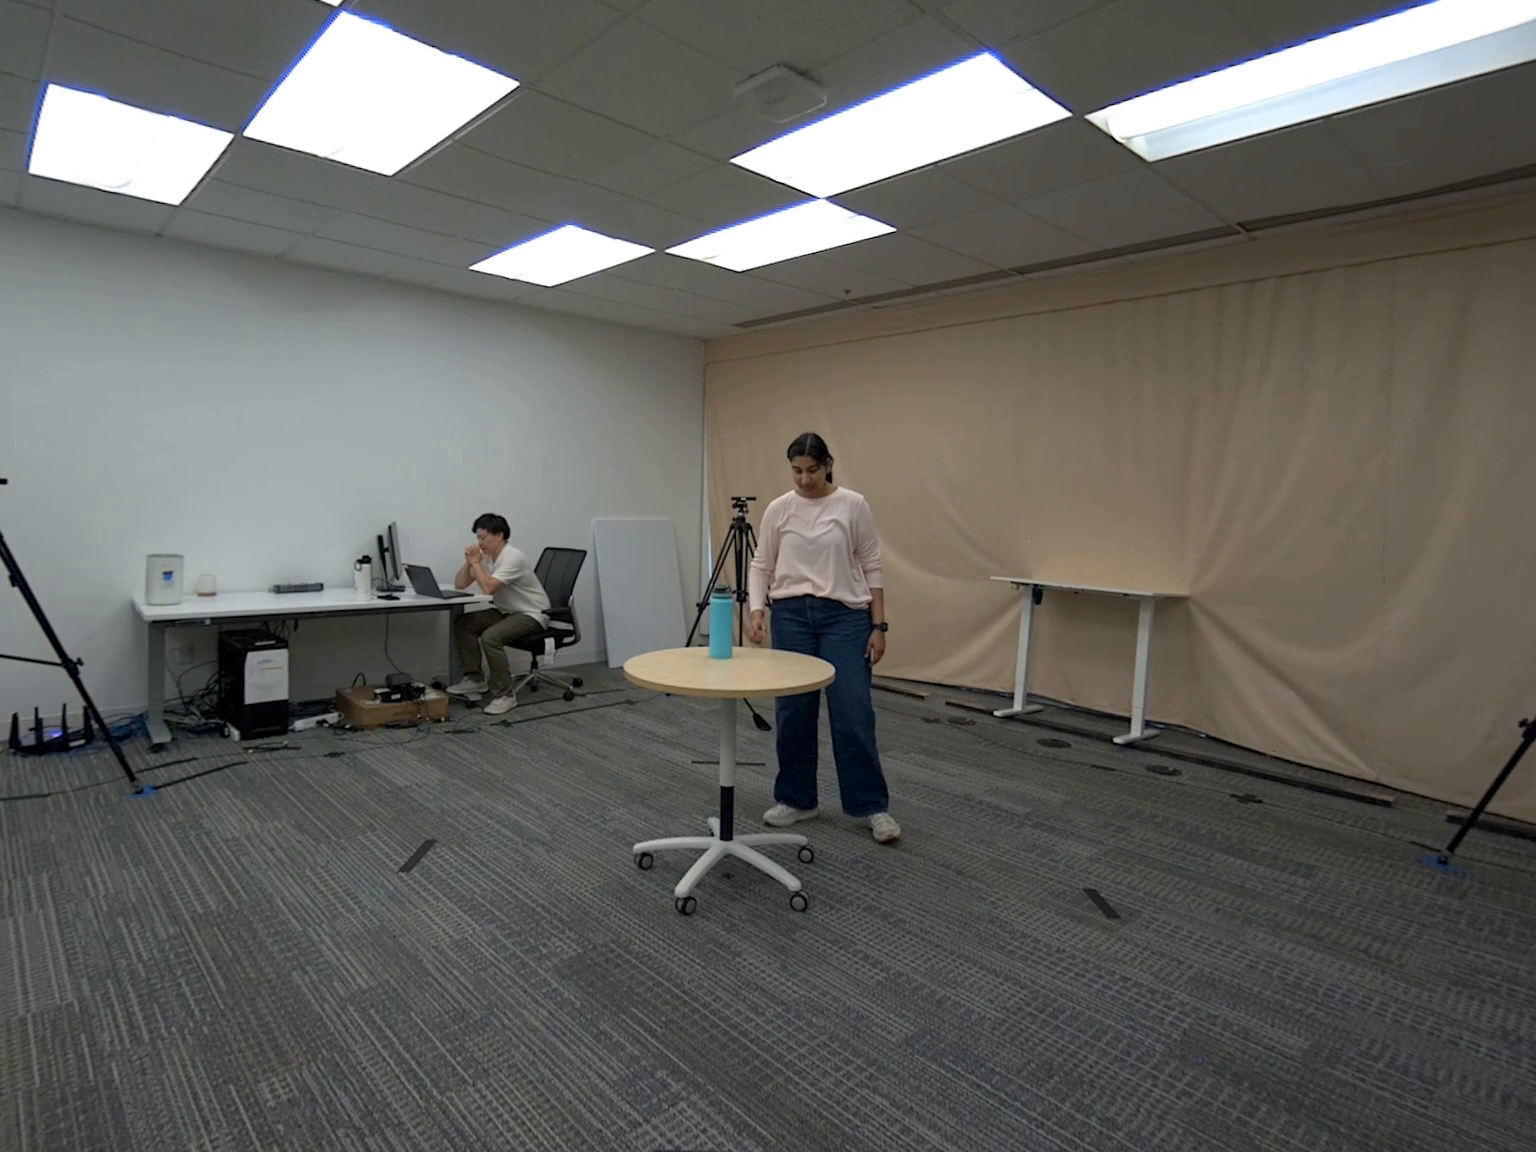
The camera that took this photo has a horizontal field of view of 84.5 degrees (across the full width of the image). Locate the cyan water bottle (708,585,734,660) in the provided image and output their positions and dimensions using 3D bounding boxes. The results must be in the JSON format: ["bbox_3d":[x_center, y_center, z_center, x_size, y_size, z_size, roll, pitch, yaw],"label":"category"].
[{"bbox_3d":[-0.189,0.172,3.222,0.092,0.283,0.092,0,2,-1],"label":"cyan water bottle"}]
